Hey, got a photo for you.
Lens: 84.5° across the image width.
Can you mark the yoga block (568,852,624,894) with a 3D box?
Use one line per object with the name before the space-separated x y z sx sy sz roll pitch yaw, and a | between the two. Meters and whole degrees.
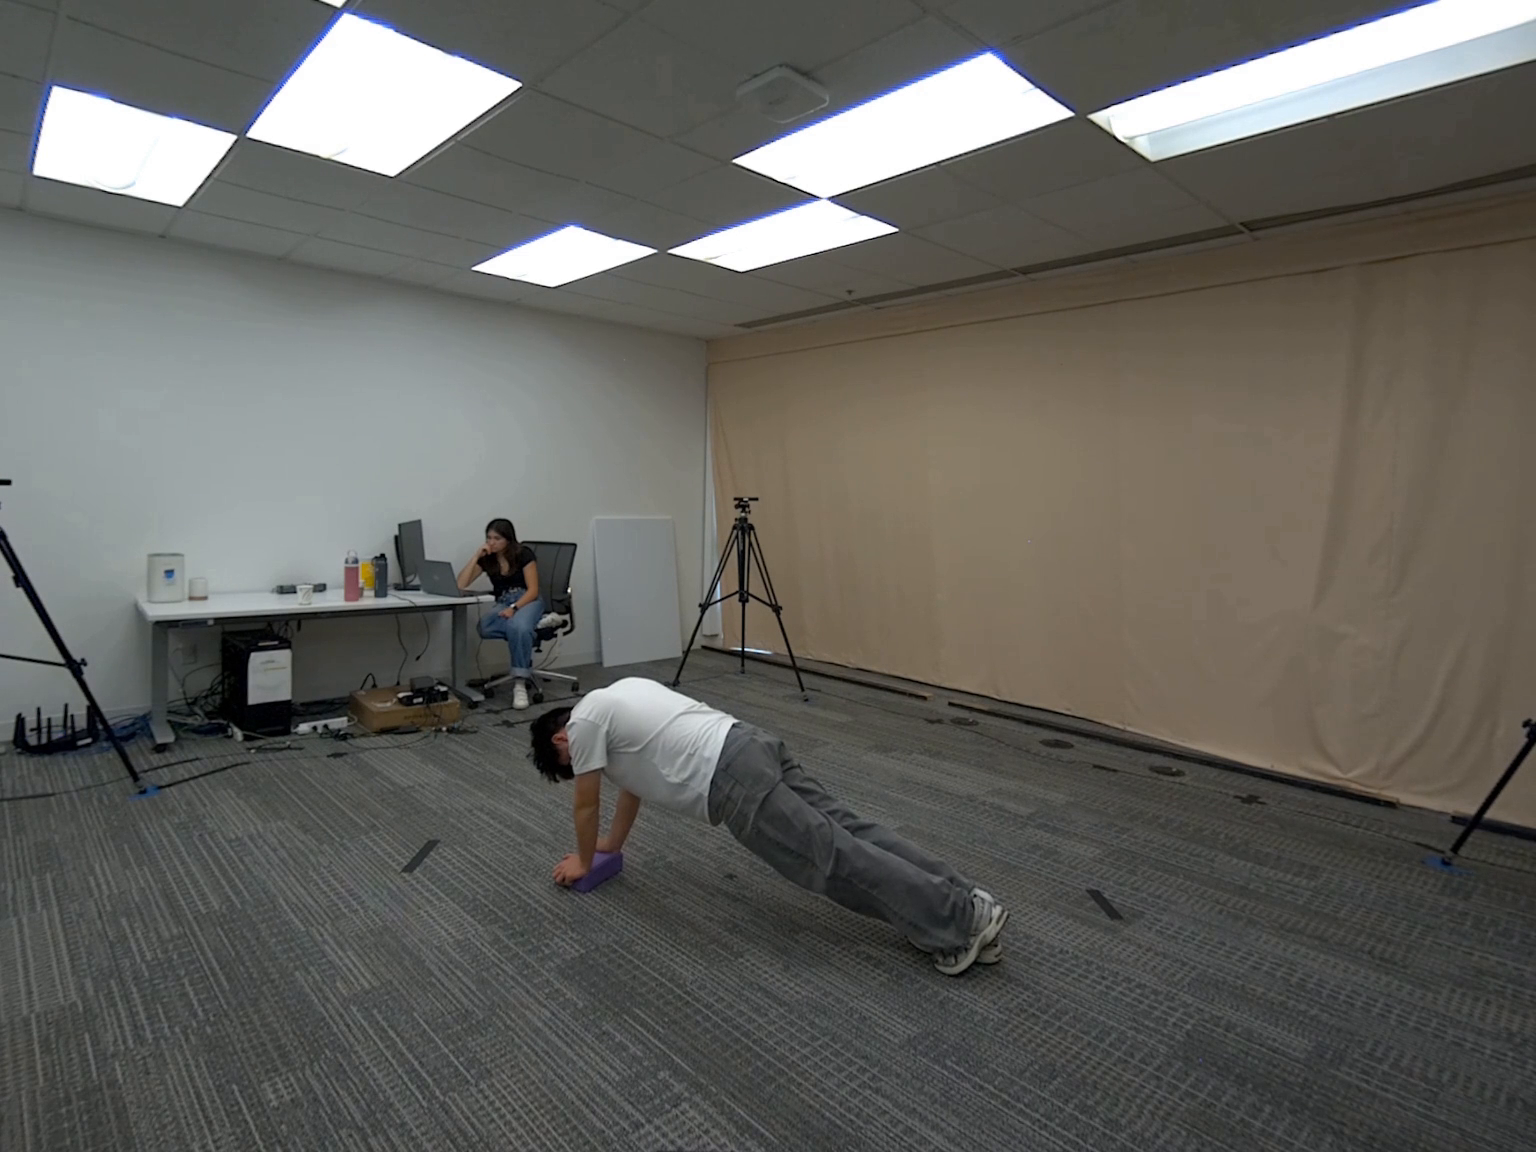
yoga block | -0.662 1.070 3.073 0.152 0.076 0.225 2 6 28
